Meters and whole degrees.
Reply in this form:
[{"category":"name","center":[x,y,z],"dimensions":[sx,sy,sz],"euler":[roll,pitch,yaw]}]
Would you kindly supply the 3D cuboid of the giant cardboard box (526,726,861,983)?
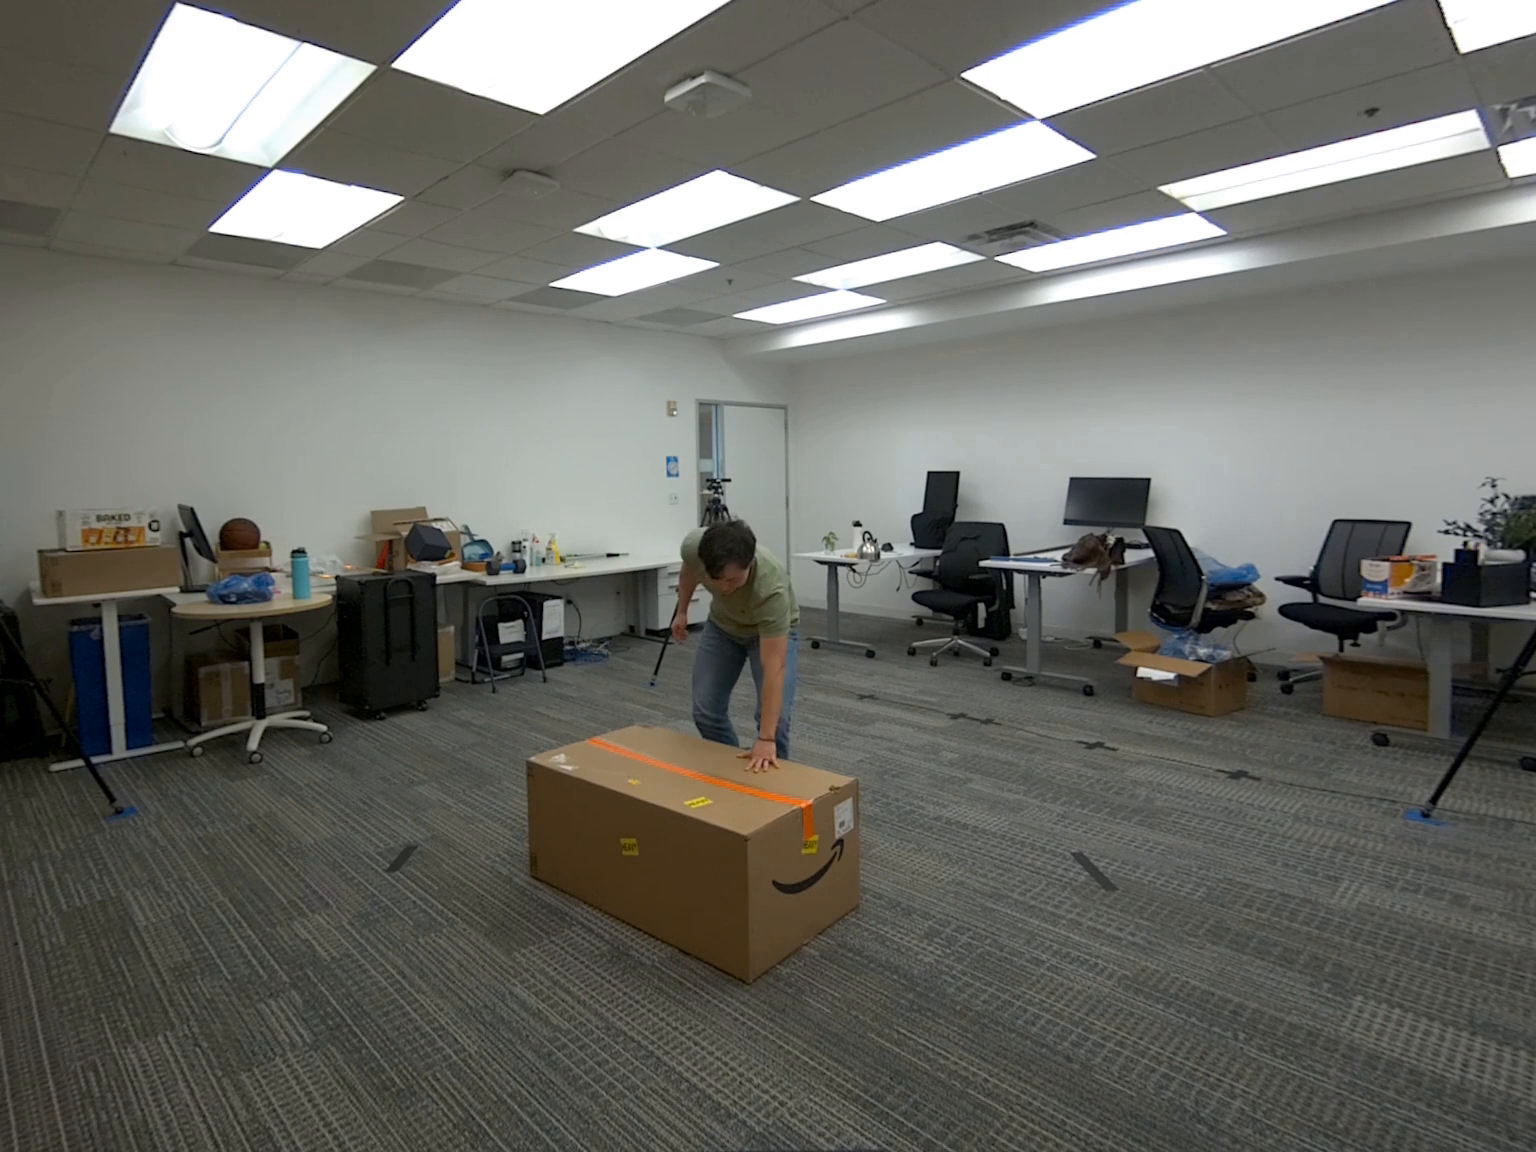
[{"category":"giant cardboard box","center":[-0.274,0.861,2.899],"dimensions":[1.057,0.424,0.563],"euler":[4,8,40]}]
